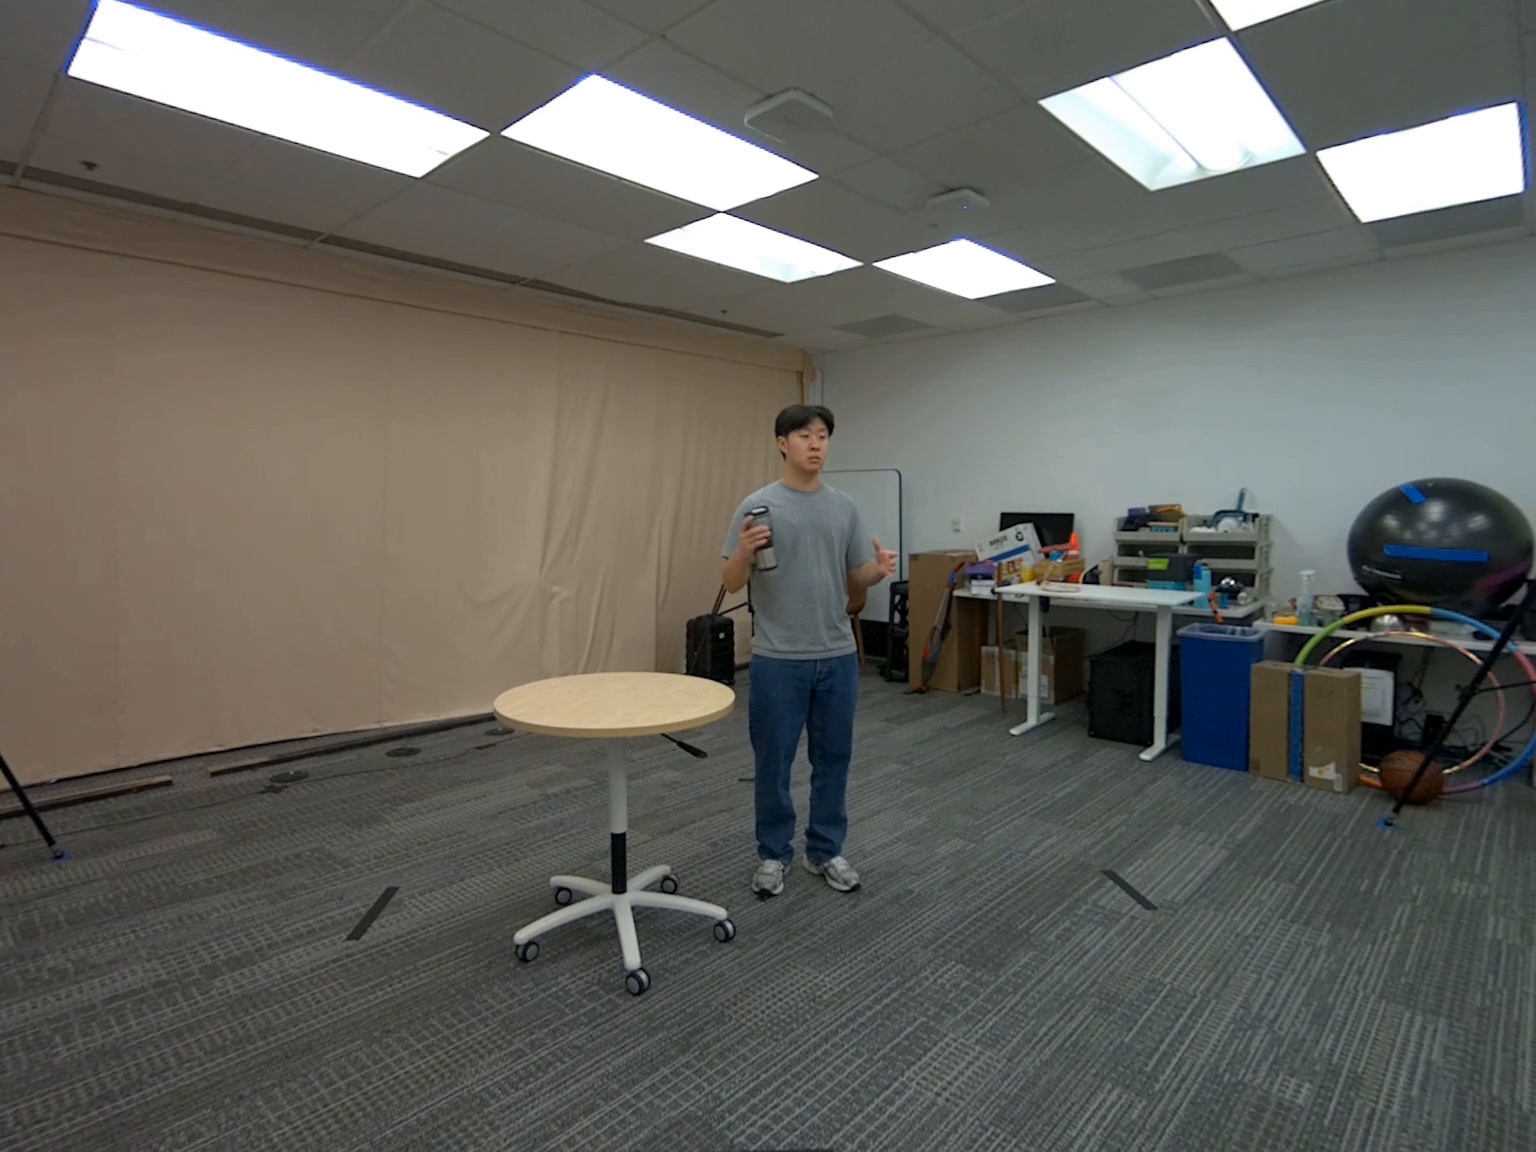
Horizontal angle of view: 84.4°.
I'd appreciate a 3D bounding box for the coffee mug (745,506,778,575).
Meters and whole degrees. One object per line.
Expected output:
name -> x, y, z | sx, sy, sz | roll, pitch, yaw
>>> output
coffee mug -> 0.020, -0.117, 2.798 | 0.119, 0.202, 0.090 | -20, 6, -40
